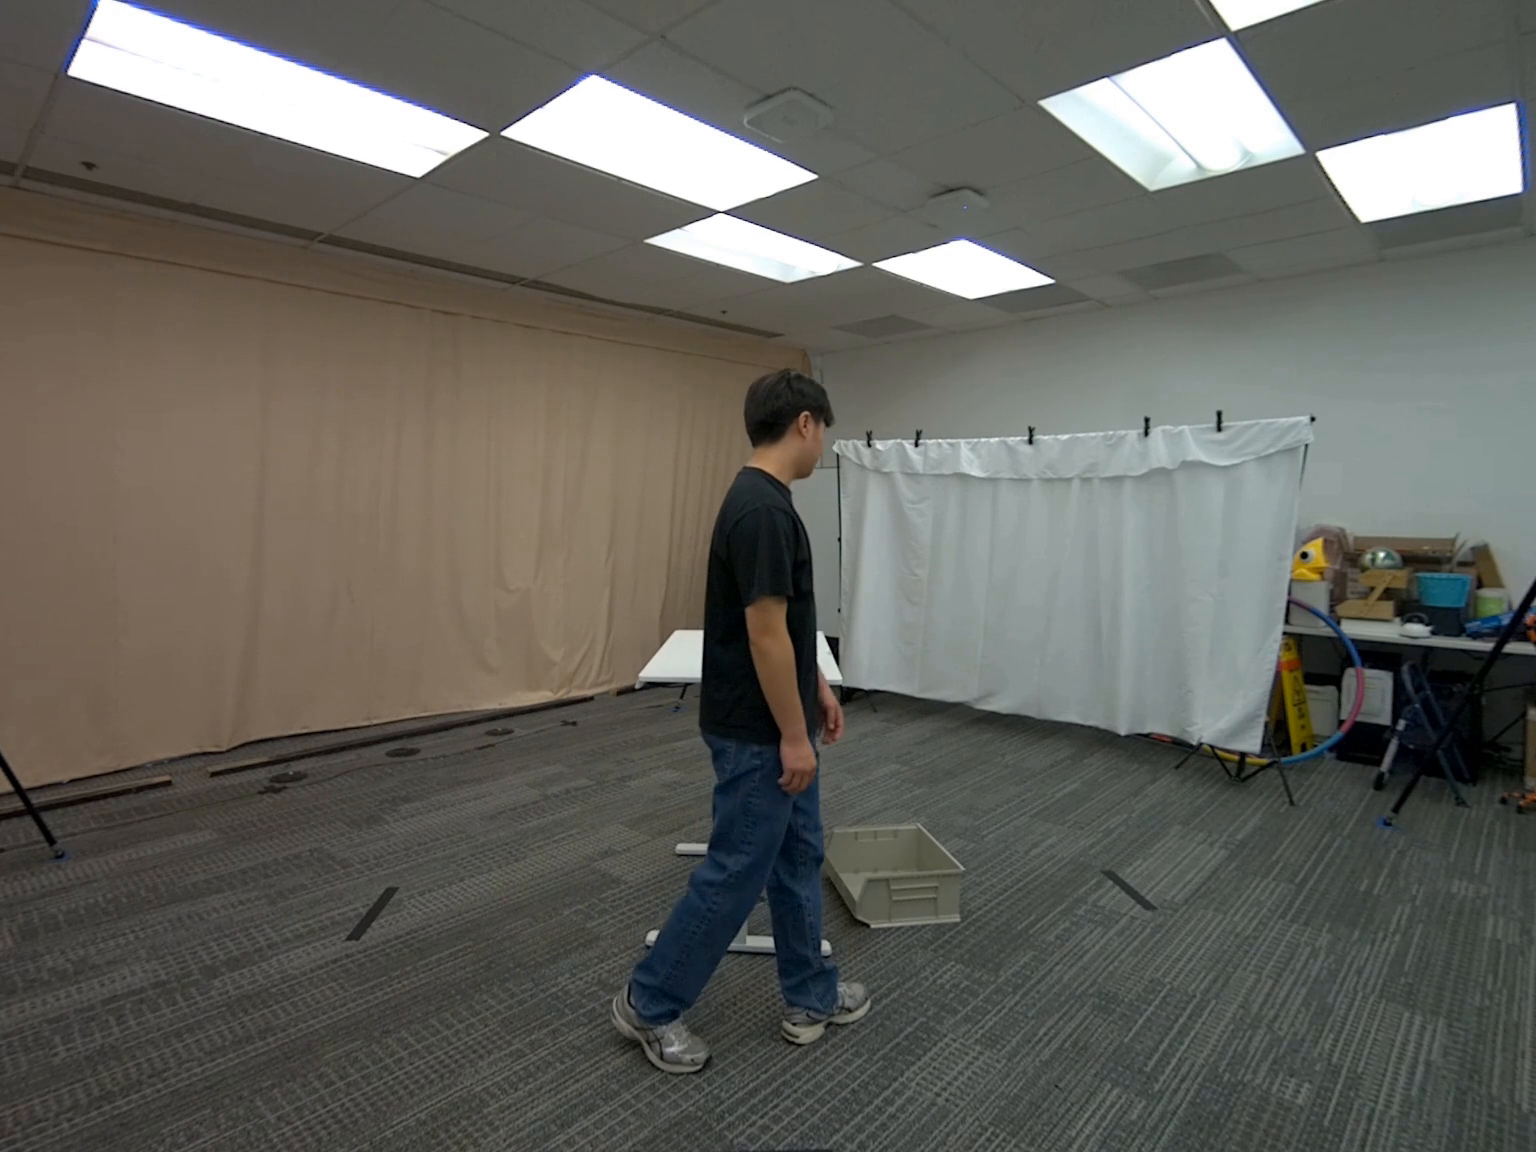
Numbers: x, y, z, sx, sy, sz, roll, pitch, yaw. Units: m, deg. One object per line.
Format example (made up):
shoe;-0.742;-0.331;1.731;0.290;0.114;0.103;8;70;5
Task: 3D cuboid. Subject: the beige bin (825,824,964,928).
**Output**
beige bin;0.436;1.054;2.985;0.373;0.188;0.428;0;4;-10
